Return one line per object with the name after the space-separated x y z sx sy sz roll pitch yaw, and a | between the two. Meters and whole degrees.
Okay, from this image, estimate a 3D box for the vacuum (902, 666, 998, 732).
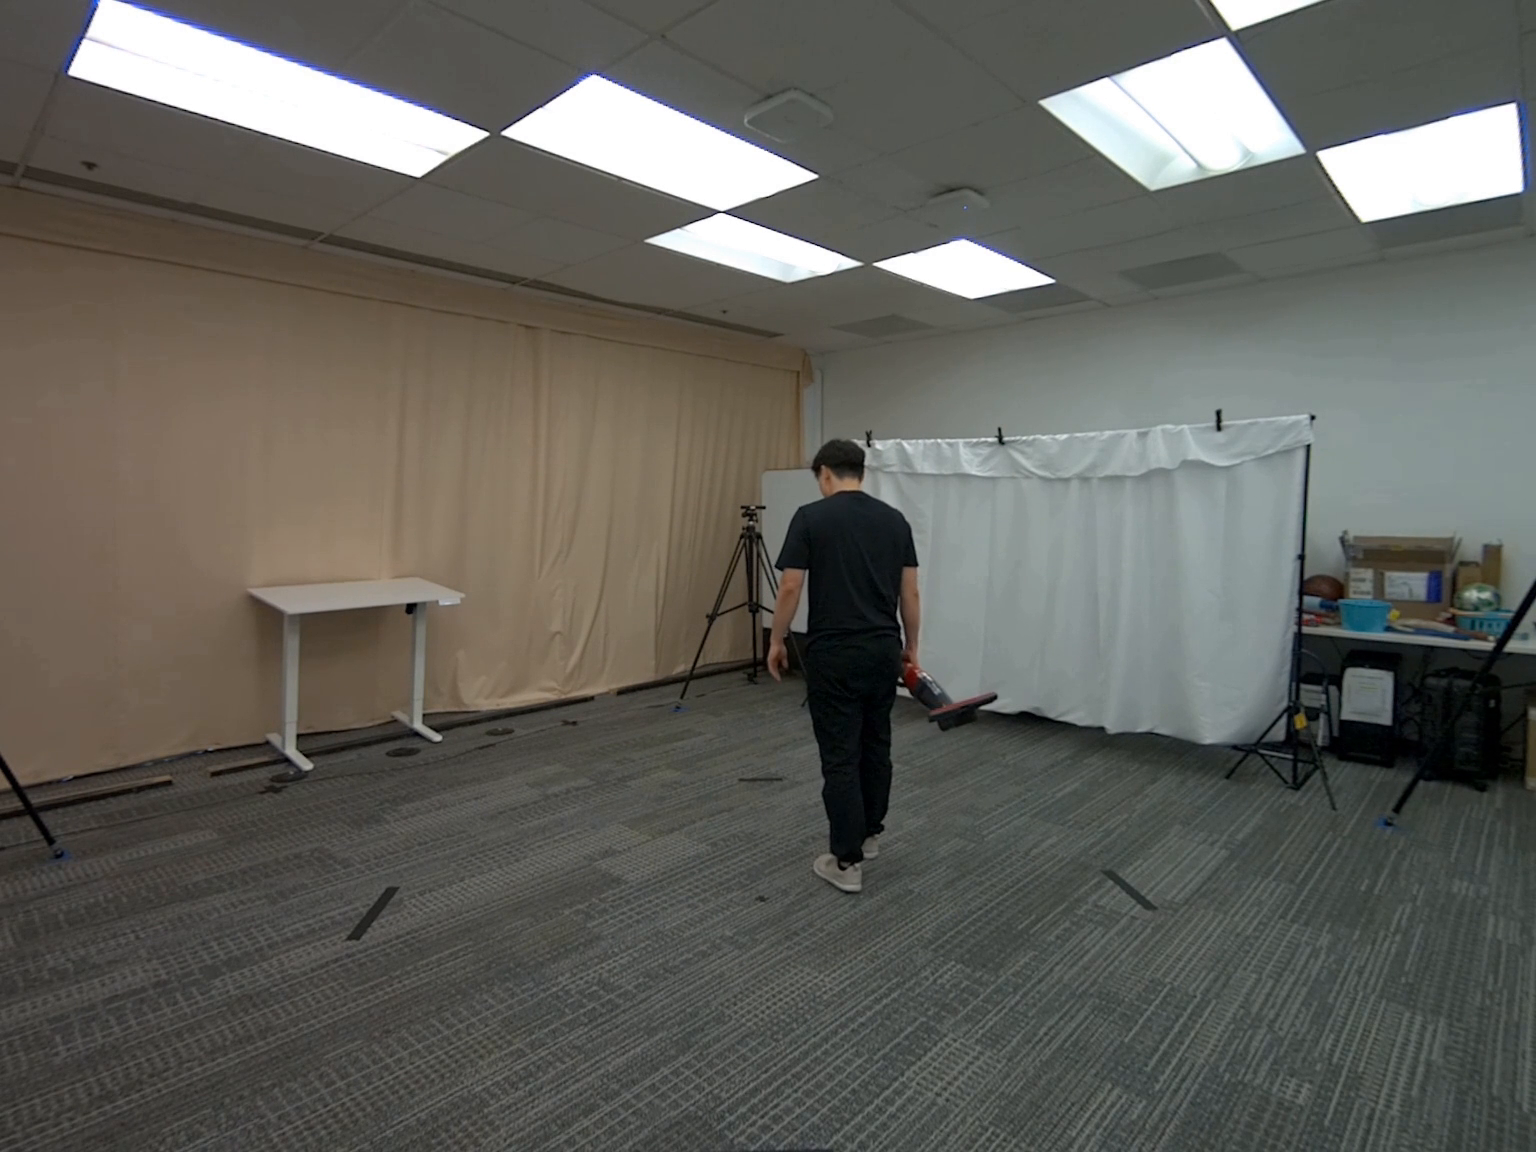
0.538 0.389 3.441 0.250 0.142 1.070 -17 14 -12 | vacuum
